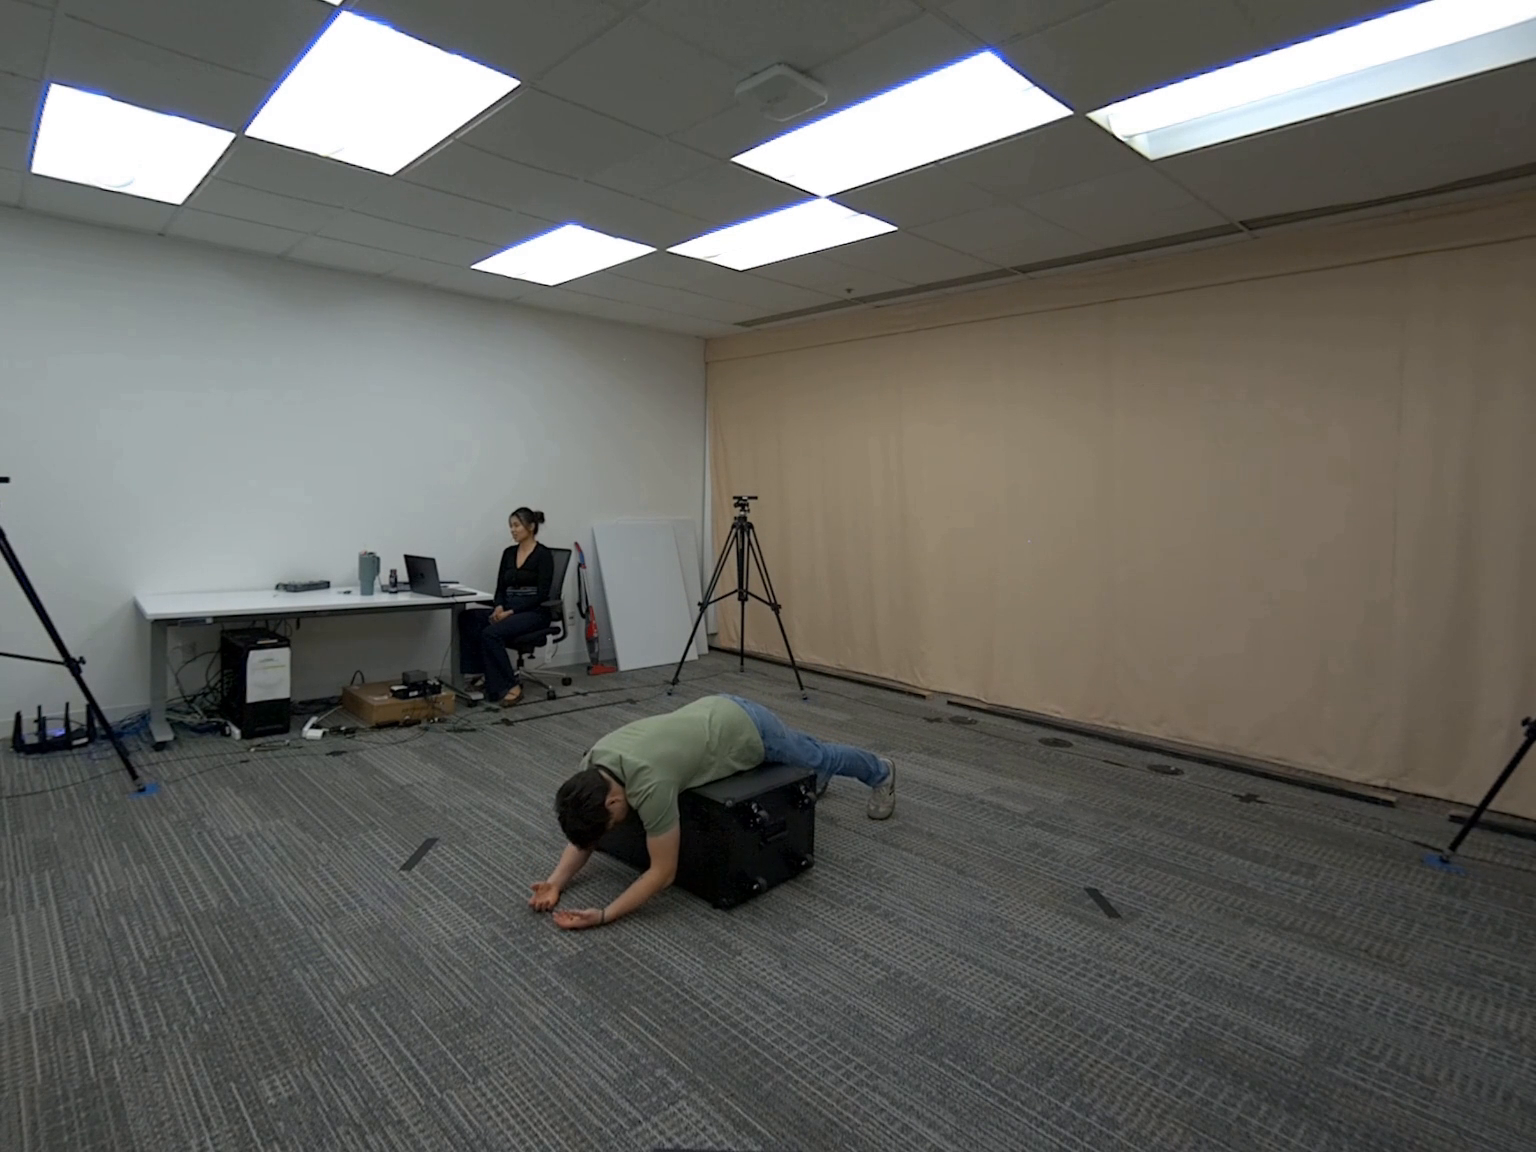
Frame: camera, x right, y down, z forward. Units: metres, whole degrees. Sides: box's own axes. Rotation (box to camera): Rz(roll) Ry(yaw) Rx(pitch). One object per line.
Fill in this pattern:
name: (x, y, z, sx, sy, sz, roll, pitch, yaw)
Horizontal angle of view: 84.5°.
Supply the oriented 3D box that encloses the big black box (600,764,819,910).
big black box: (-0.256, 0.911, 3.201, 0.883, 0.395, 0.510, 3, 5, 41)
